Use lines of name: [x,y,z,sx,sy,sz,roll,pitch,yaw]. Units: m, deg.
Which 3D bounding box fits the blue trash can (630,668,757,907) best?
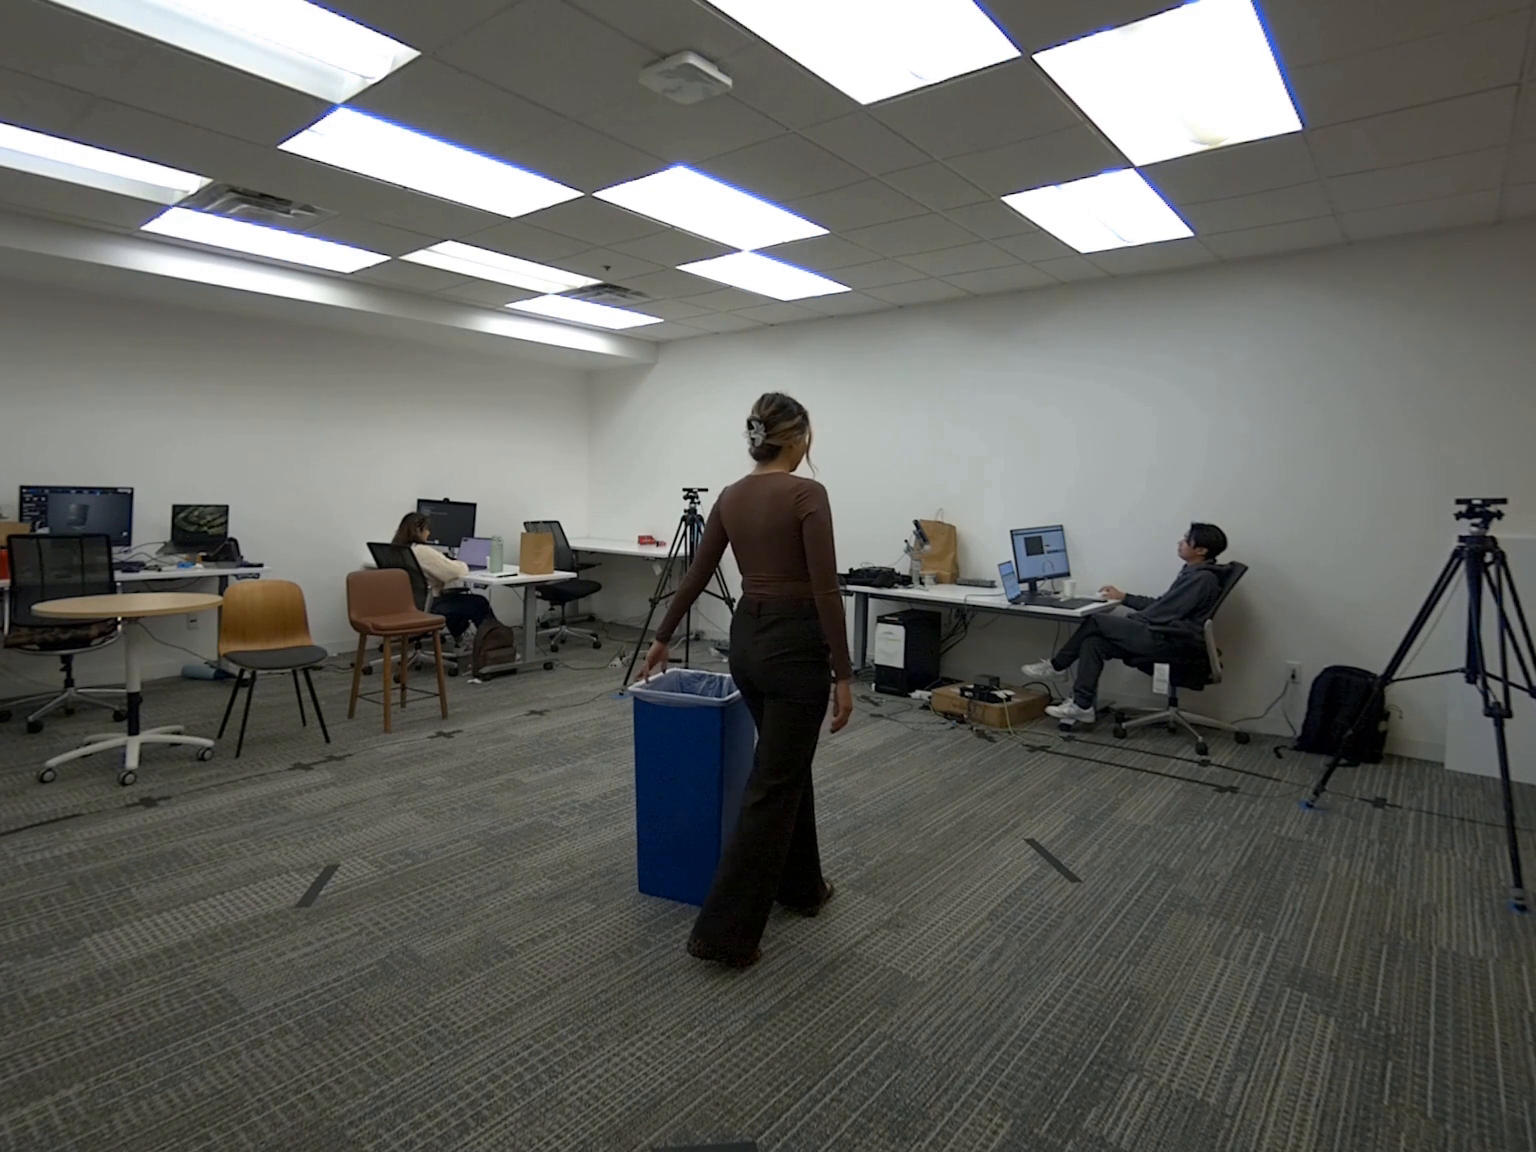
blue trash can: [-0.266,0.722,2.978,0.387,0.712,0.367,2,3,21]
